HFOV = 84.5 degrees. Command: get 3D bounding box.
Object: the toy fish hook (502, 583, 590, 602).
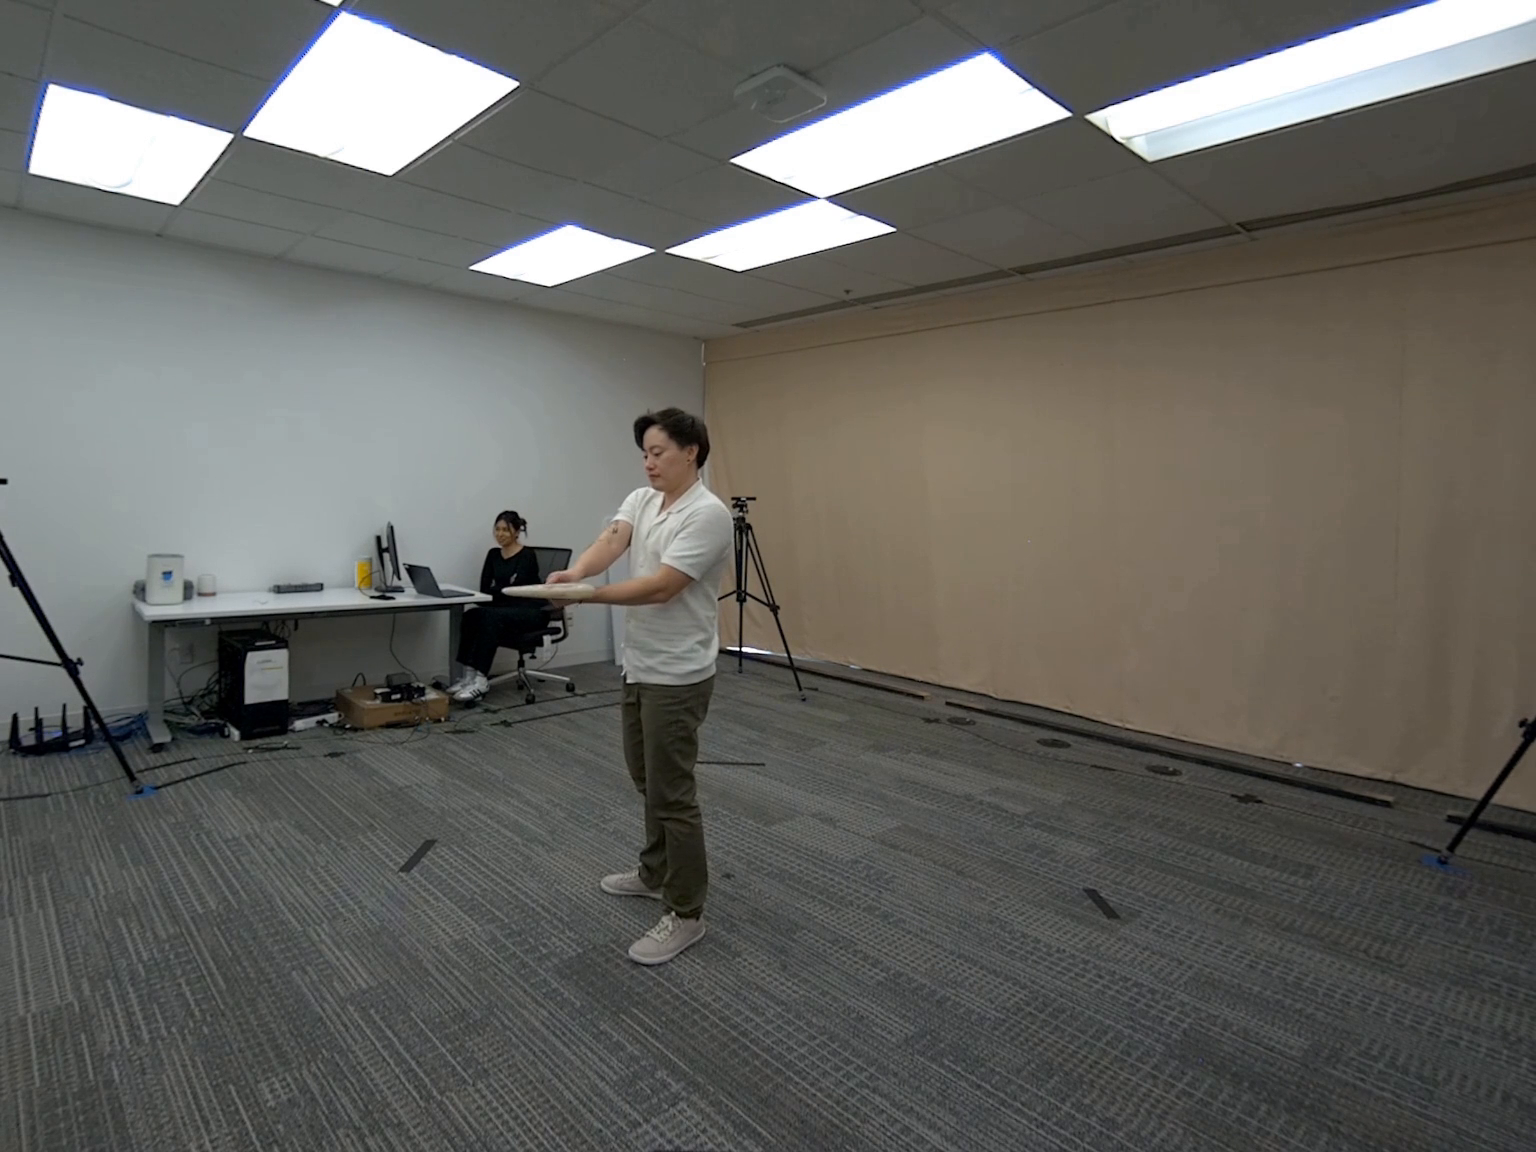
[{"bbox_3d":[-0.639,0.037,2.293,0.222,0.048,0.513,4,0,-16],"label":"toy fish hook"}]
